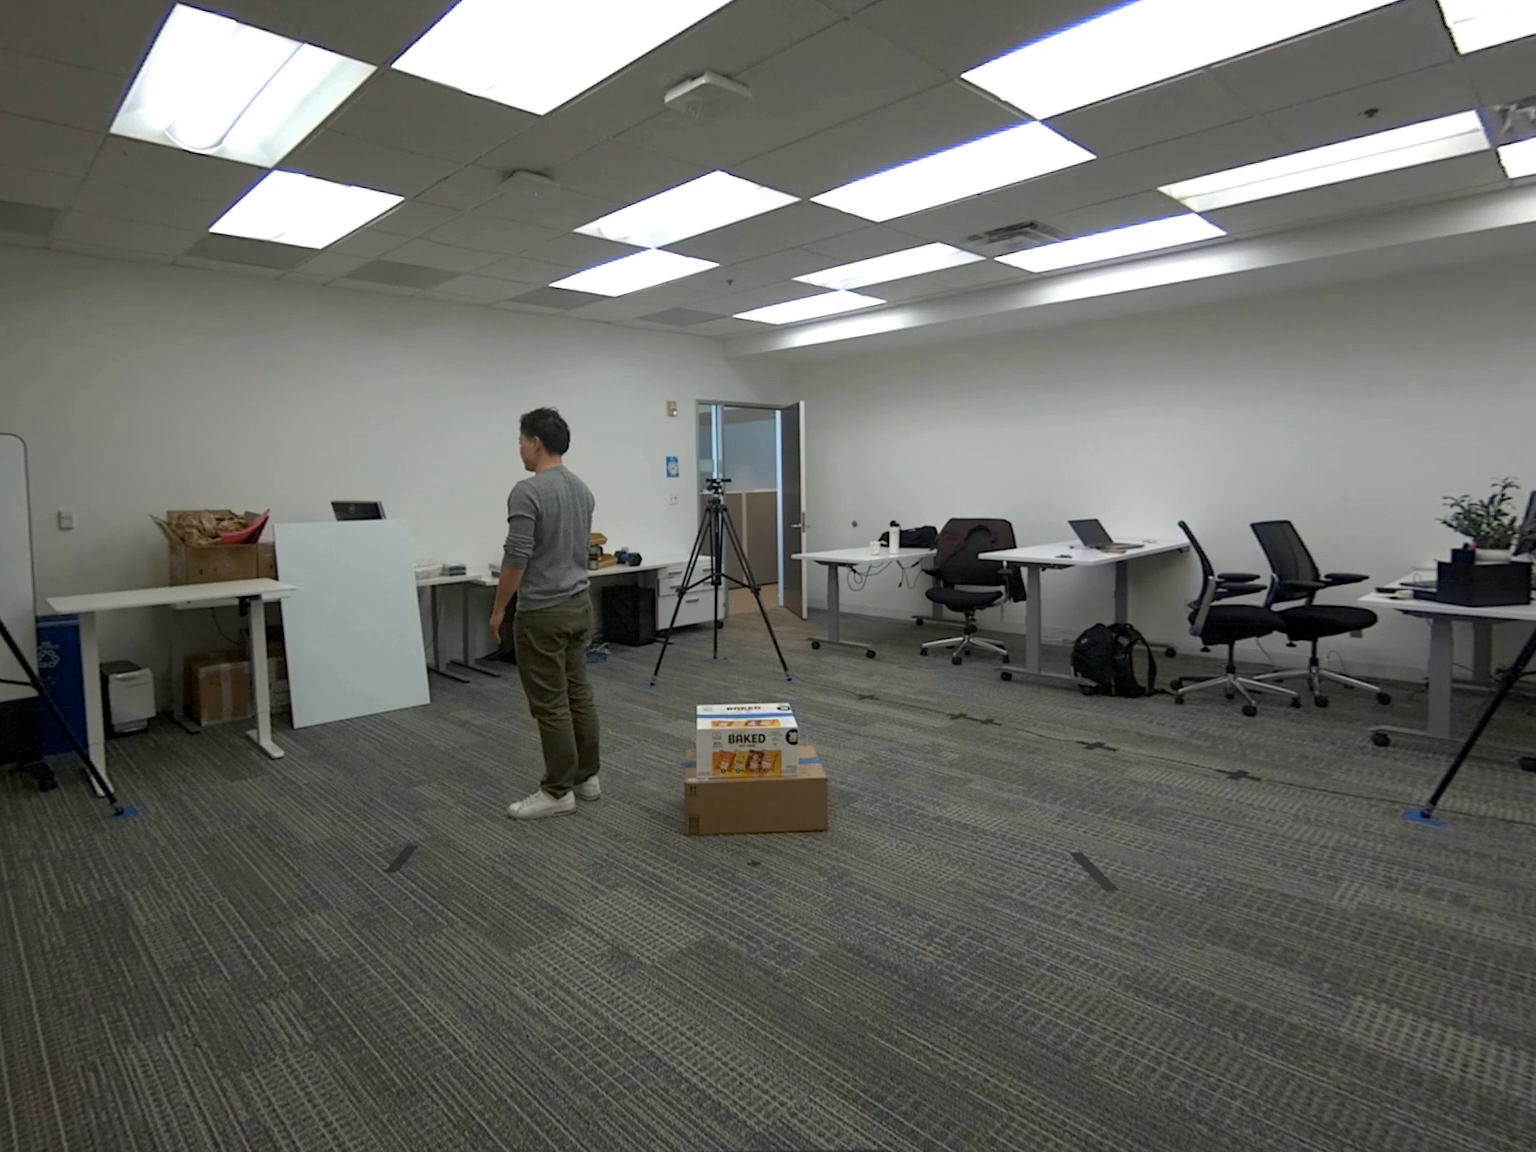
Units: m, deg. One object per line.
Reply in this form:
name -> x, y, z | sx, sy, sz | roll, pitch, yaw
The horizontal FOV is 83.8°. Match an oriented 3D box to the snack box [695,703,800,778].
snack box -> -0.094, 0.681, 3.547 | 0.404, 0.204, 0.343 | -1, 7, -3
